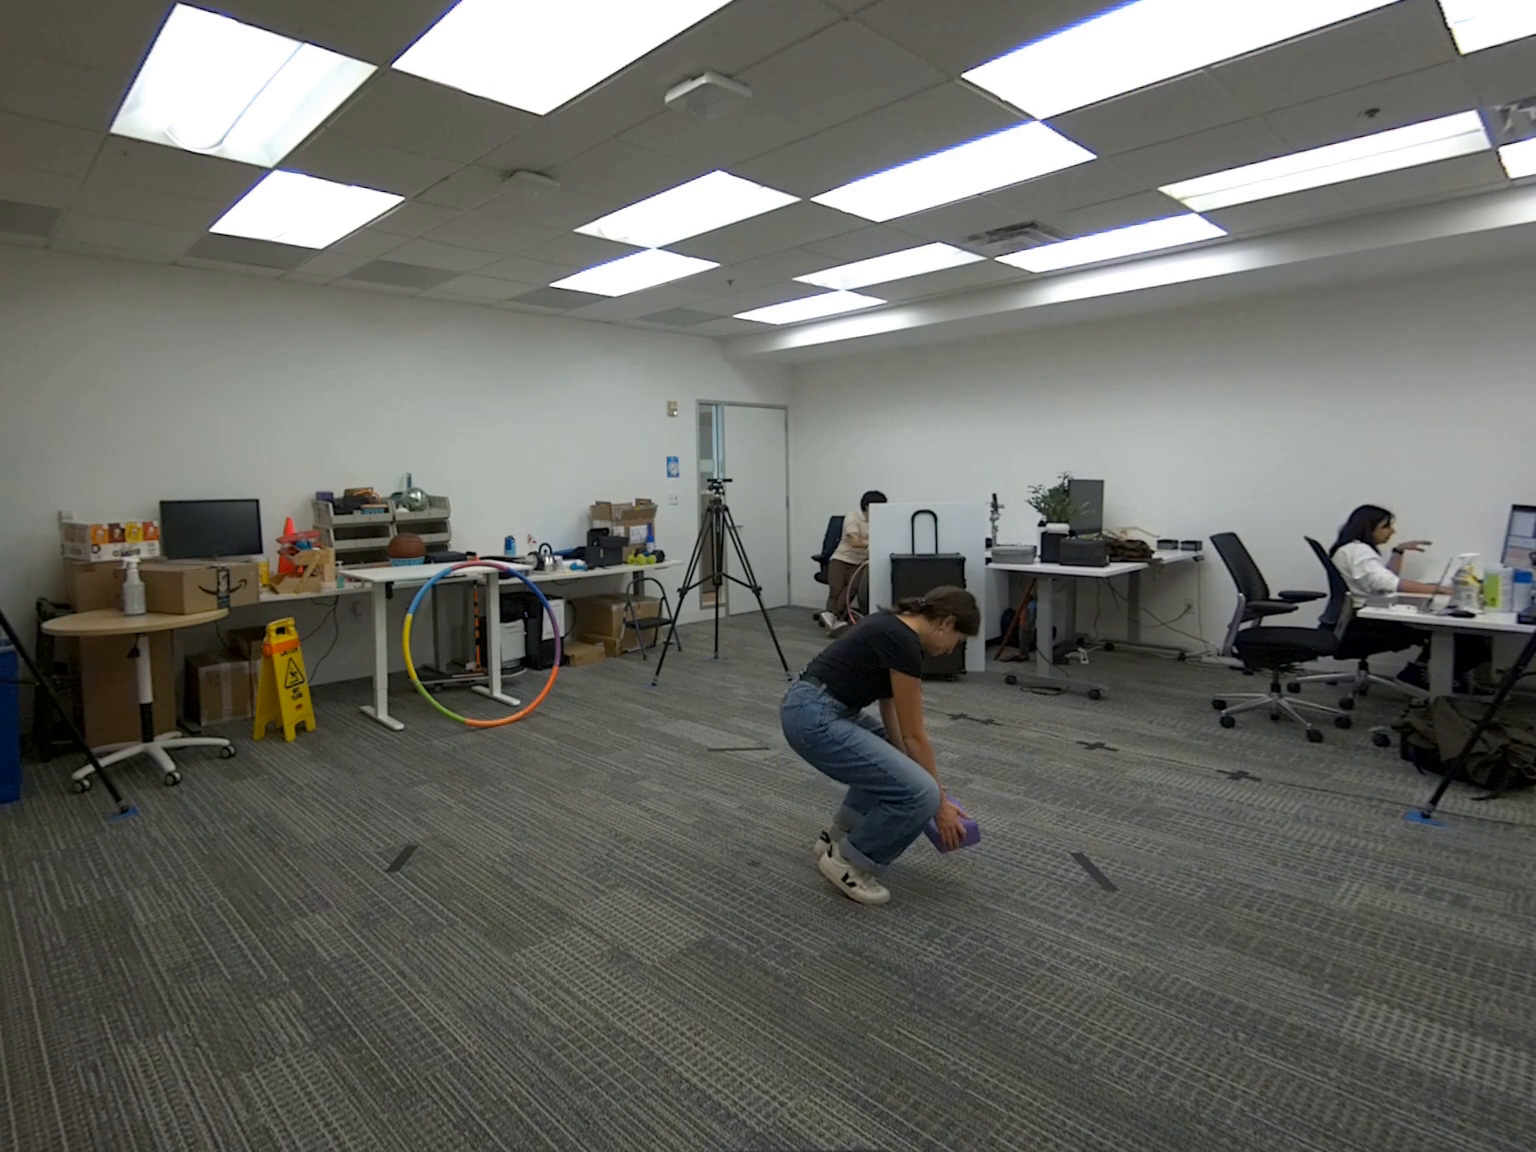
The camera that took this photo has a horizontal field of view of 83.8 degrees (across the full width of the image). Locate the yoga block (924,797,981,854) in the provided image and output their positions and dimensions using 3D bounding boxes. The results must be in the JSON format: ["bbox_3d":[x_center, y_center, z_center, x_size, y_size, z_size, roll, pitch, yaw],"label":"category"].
[{"bbox_3d":[0.605,0.840,2.922,0.148,0.075,0.232,-12,11,-5],"label":"yoga block"}]
